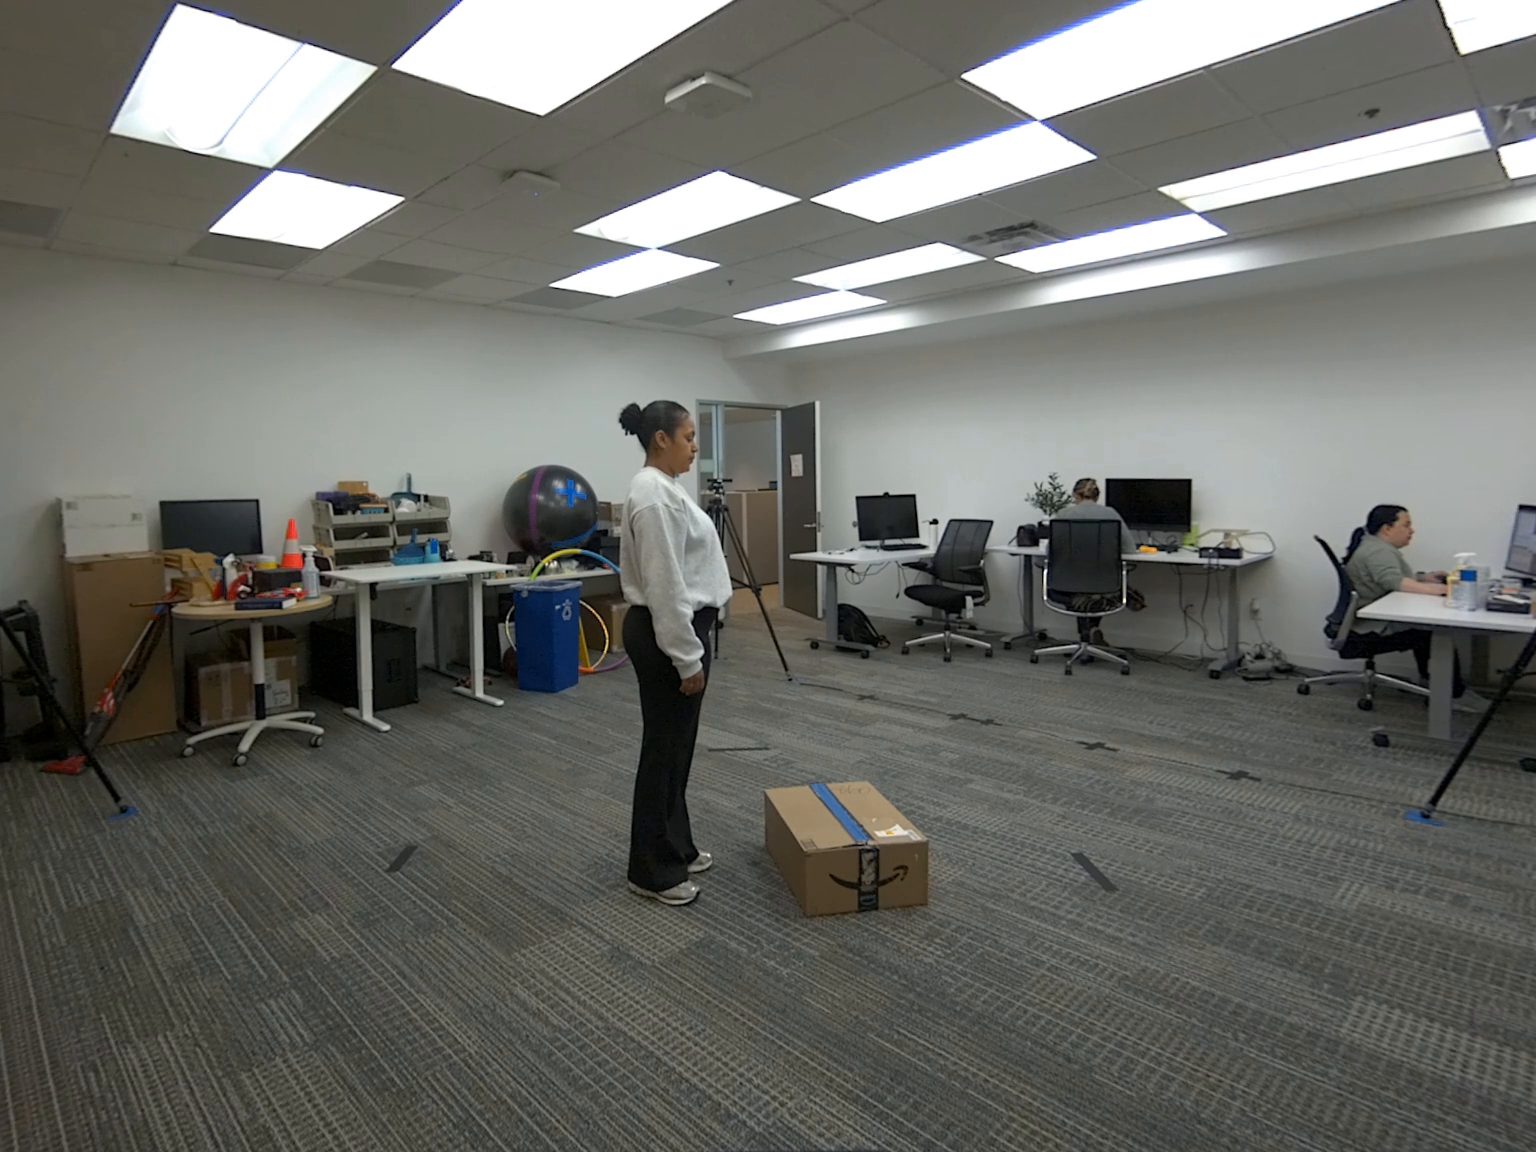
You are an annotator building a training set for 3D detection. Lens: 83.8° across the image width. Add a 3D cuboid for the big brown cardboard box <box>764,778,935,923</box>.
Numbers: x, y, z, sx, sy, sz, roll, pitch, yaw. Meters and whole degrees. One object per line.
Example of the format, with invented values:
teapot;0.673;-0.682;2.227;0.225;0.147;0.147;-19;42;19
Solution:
big brown cardboard box;0.262;0.937;3.014;0.413;0.232;0.598;-2;5;-12
